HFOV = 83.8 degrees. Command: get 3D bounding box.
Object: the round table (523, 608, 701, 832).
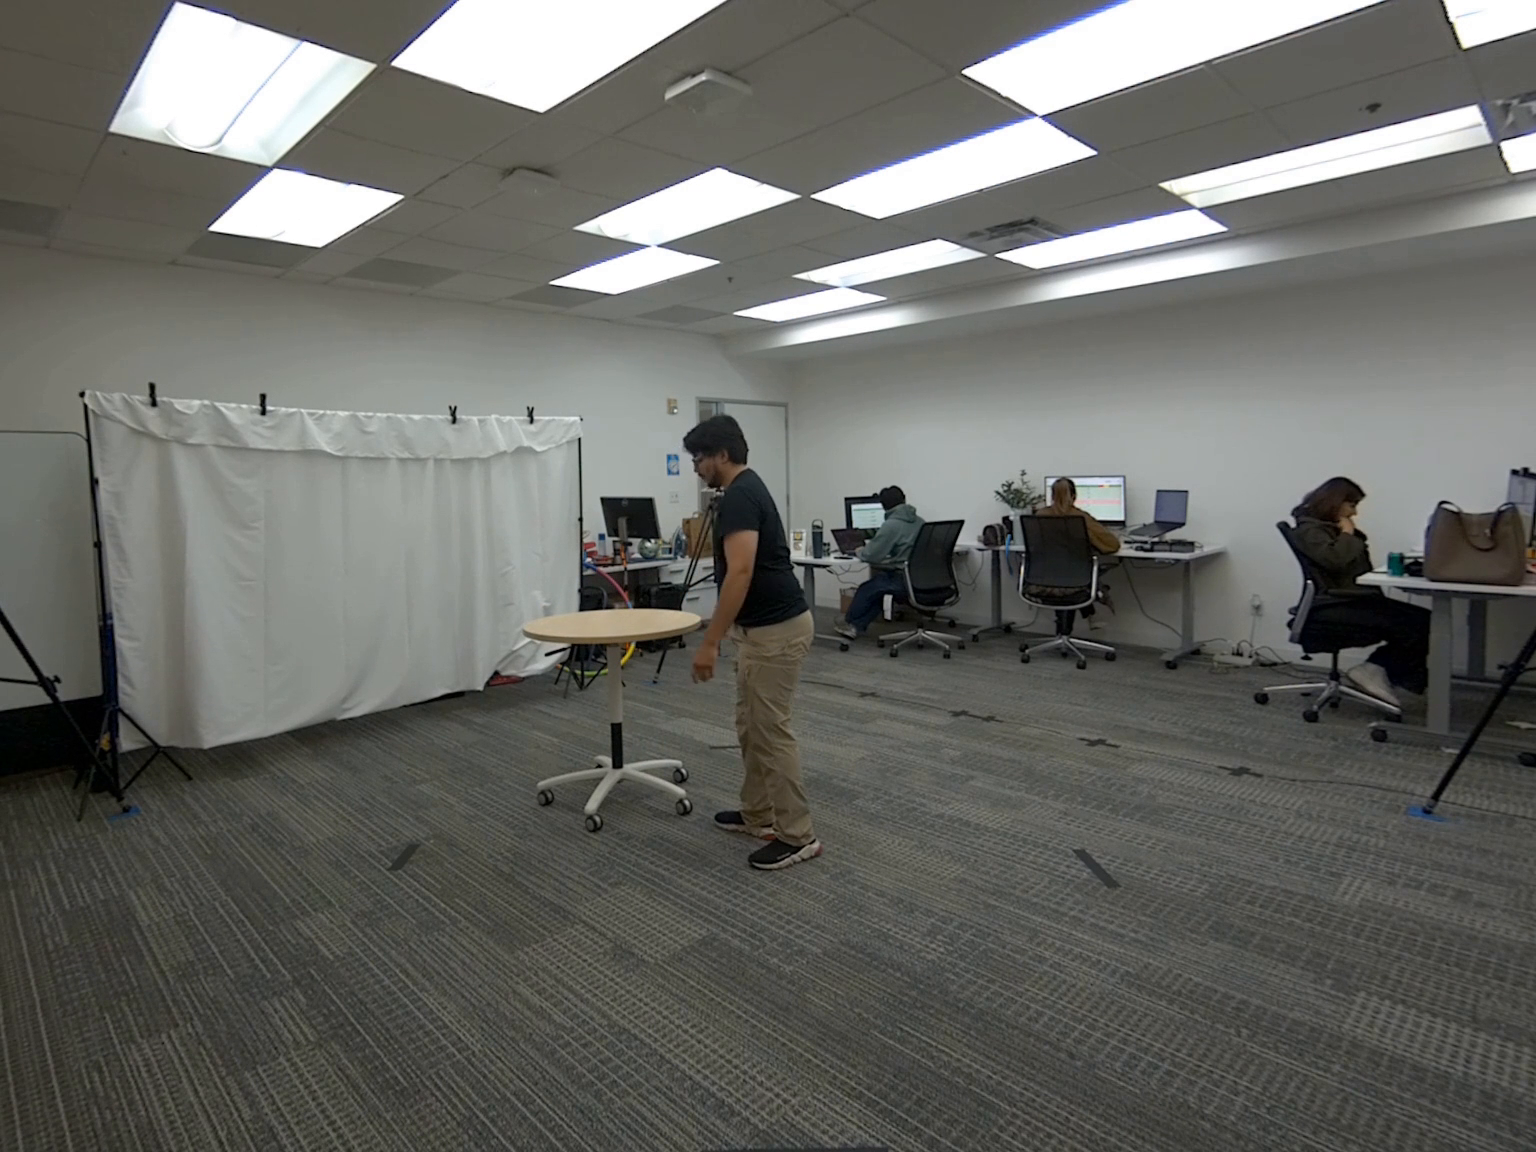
[{"bbox_3d":[-0.664,0.585,3.711,0.784,0.784,0.788,-1,4,-2],"label":"round table"}]
